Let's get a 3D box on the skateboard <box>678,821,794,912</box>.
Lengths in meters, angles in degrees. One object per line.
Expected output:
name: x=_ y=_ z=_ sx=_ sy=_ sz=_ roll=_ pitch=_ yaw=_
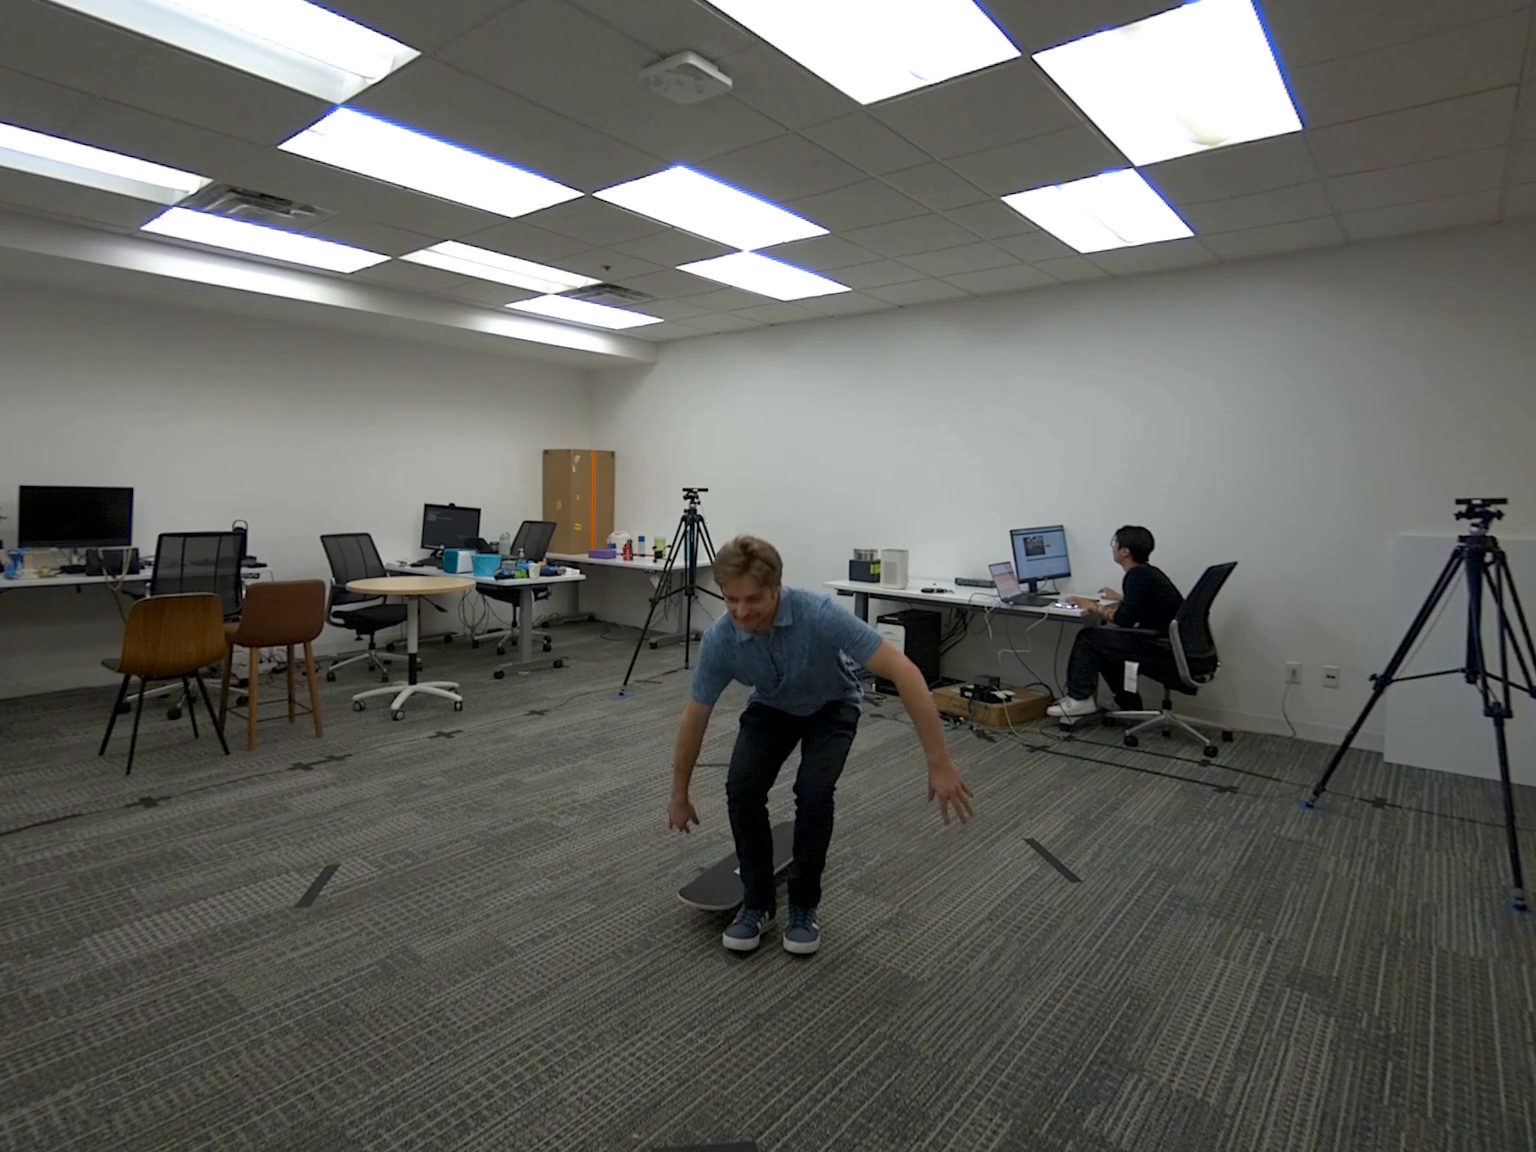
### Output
skateboard: x=-0.059 y=1.026 z=2.966 sx=0.199 sy=0.110 sz=0.766 roll=4 pitch=6 yaw=29
